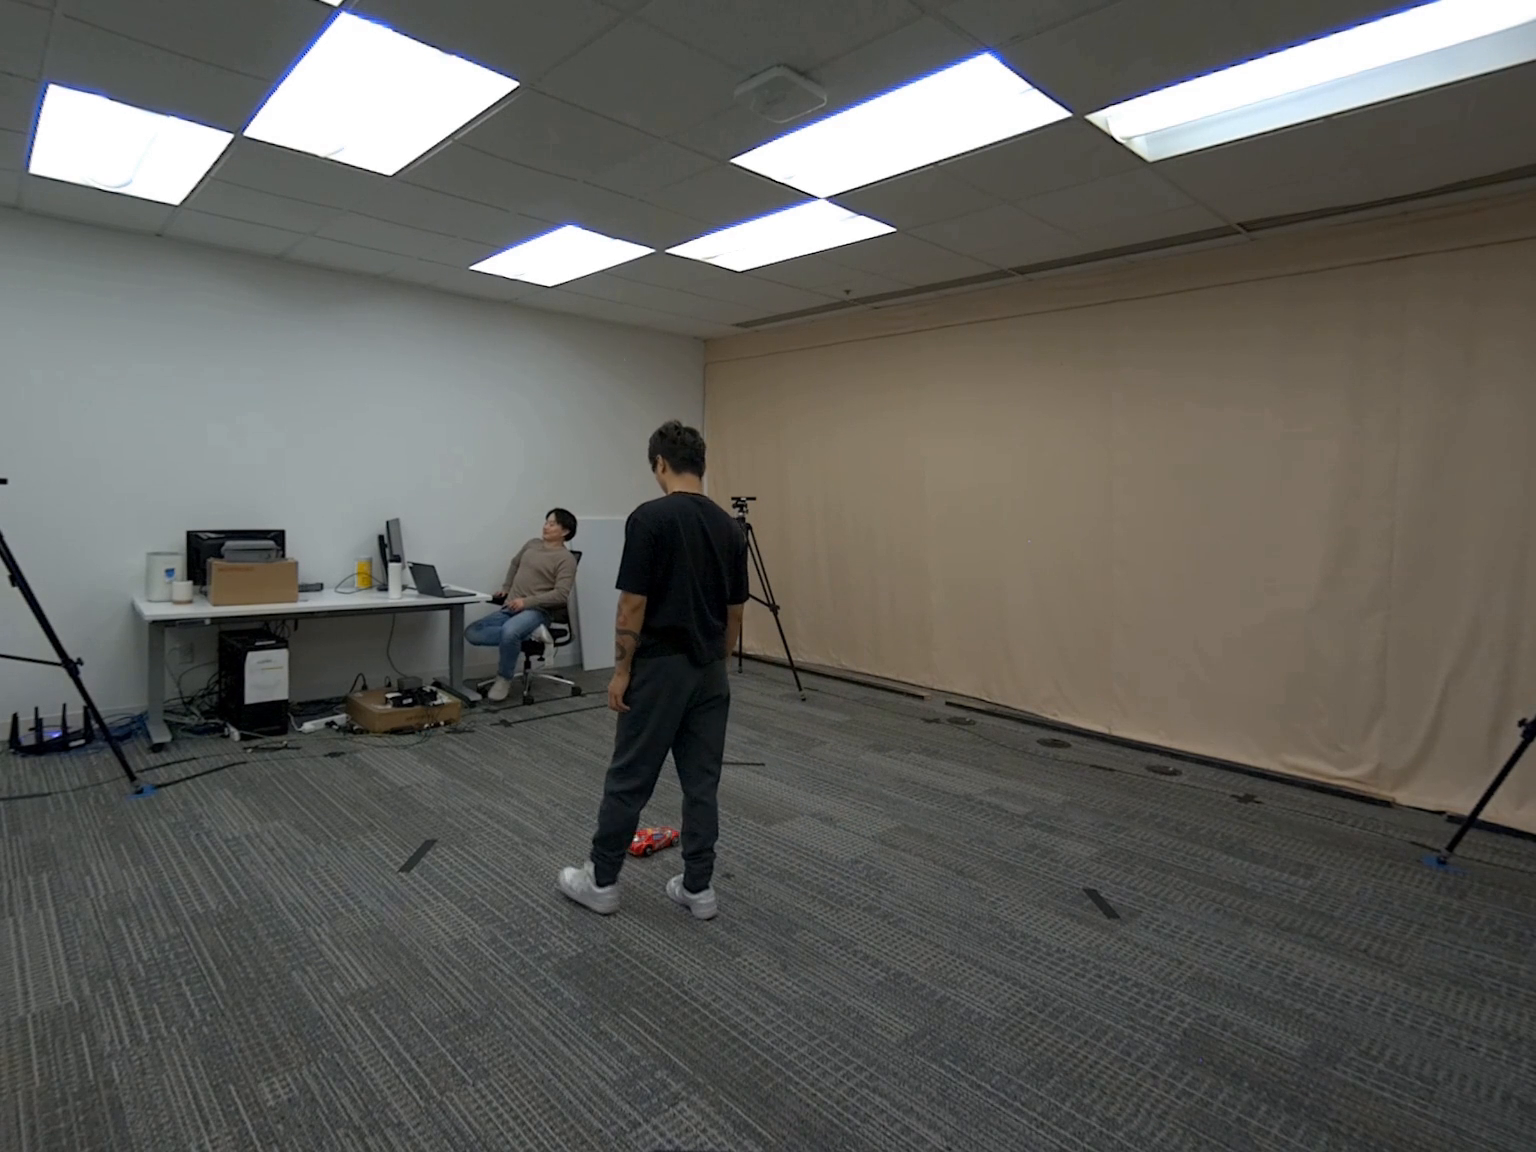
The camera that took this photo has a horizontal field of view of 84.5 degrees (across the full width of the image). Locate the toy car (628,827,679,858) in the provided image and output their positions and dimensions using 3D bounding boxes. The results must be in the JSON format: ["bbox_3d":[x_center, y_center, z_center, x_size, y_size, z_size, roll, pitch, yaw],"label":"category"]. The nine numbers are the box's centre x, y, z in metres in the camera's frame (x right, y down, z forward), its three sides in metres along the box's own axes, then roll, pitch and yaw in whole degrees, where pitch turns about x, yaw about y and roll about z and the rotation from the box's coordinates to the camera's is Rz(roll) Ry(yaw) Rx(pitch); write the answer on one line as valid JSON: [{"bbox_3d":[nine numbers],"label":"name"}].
[{"bbox_3d":[-0.477,1.048,3.323,0.133,0.083,0.247,6,-4,43],"label":"toy car"}]
